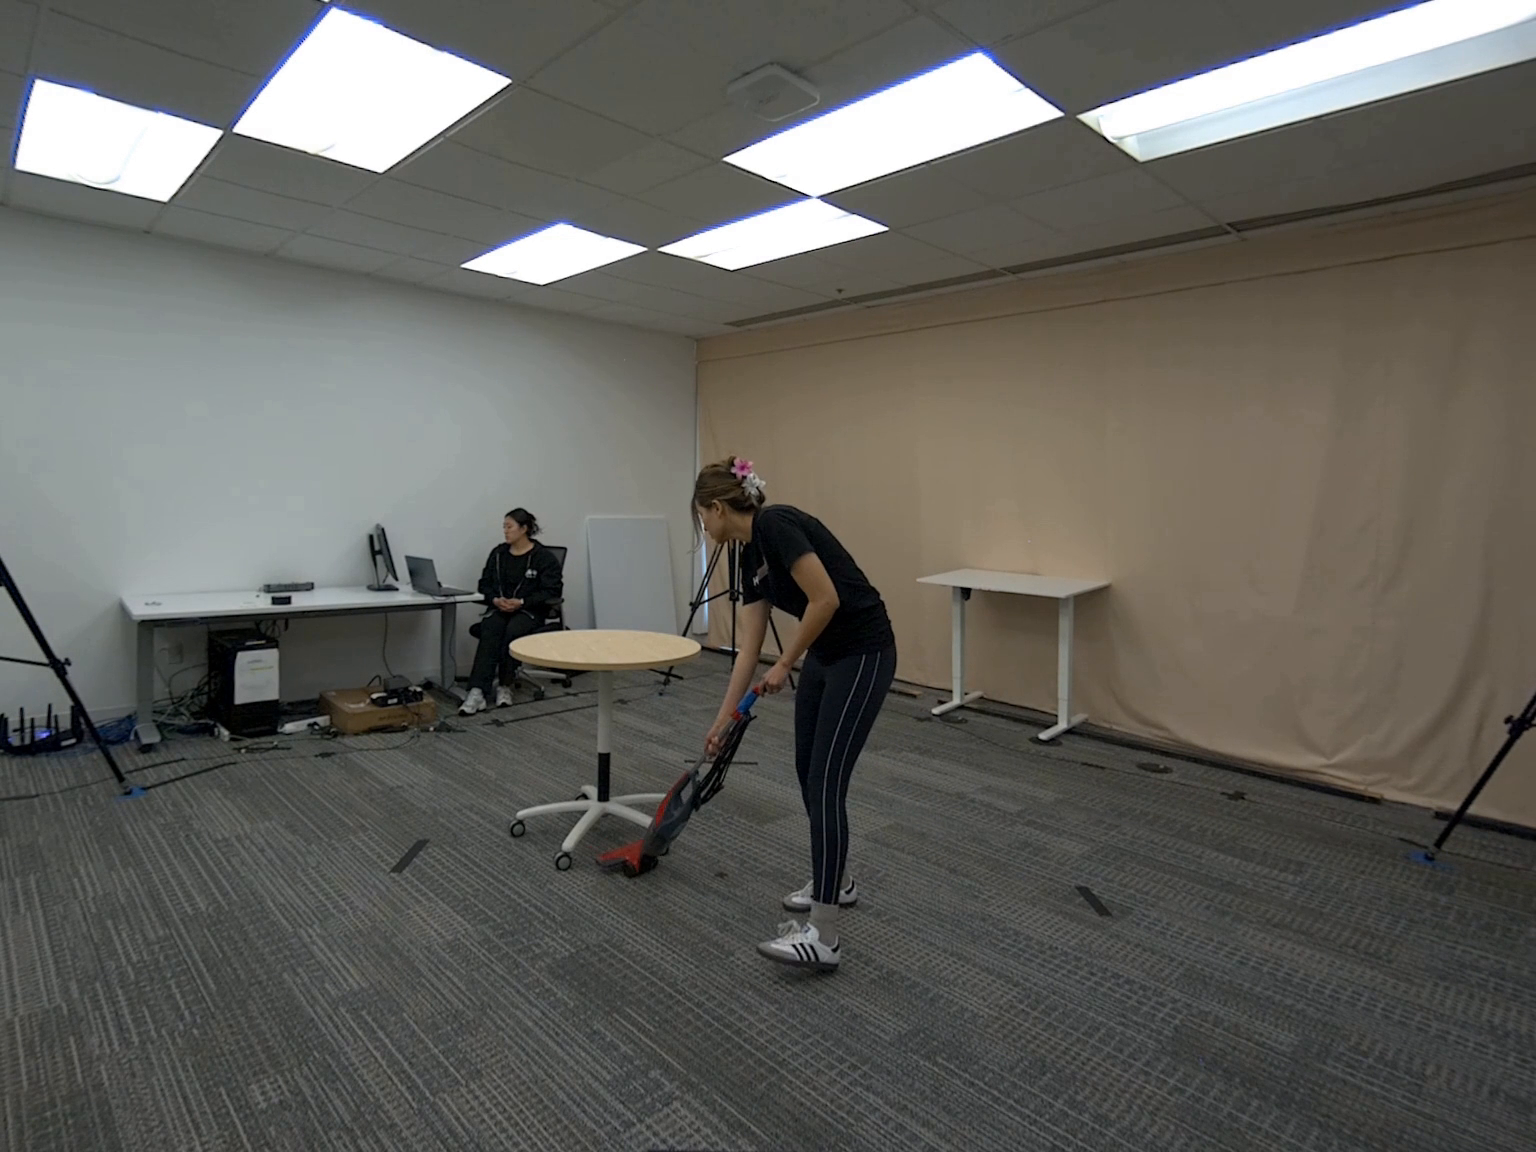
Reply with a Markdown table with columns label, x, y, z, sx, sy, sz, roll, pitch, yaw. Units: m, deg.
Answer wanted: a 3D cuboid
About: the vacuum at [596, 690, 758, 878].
| label | x | y | z | sx | sy | sz | roll | pitch | yaw |
| --- | --- | --- | --- | --- | --- | --- | --- | --- | --- |
| vacuum | -0.251 | 0.702 | 2.882 | 0.247 | 1.045 | 0.148 | -5 | 49 | -49 |
